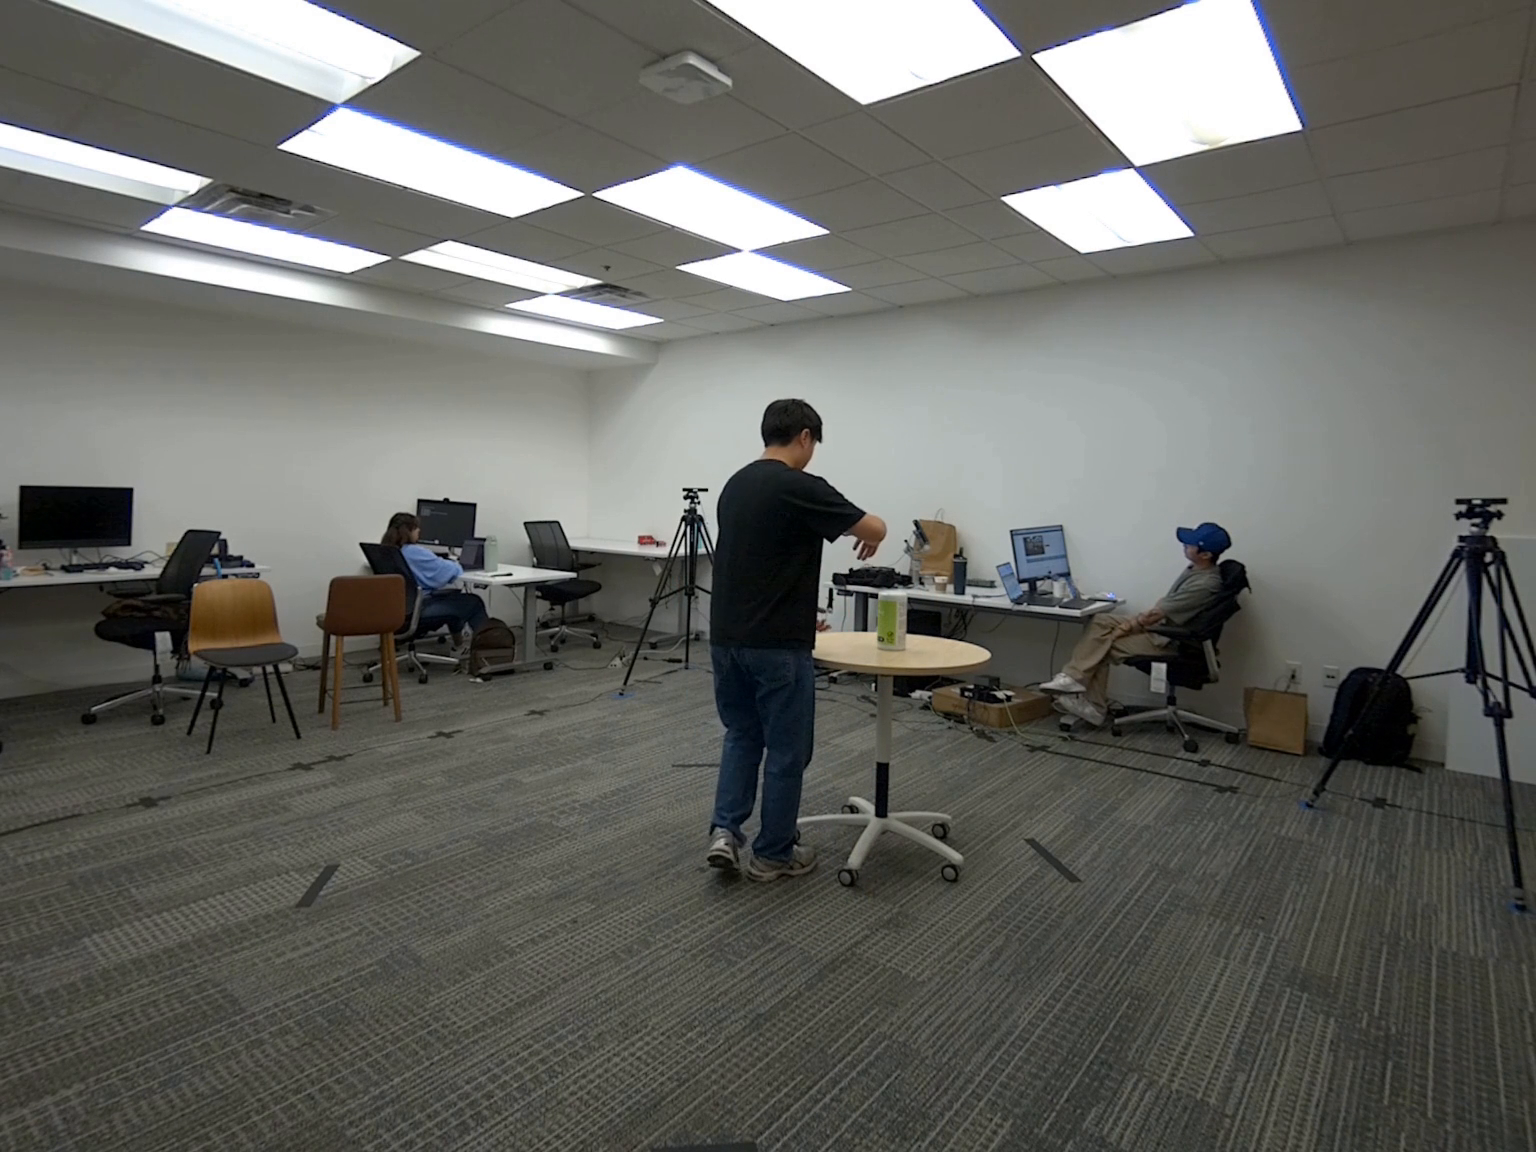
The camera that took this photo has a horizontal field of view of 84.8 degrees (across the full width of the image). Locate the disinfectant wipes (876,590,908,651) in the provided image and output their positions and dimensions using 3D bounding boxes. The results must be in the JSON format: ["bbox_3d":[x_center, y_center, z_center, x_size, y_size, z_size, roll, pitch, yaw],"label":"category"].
[{"bbox_3d":[0.468,0.168,3.240,0.117,0.217,0.118,1,4,-2],"label":"disinfectant wipes"}]
